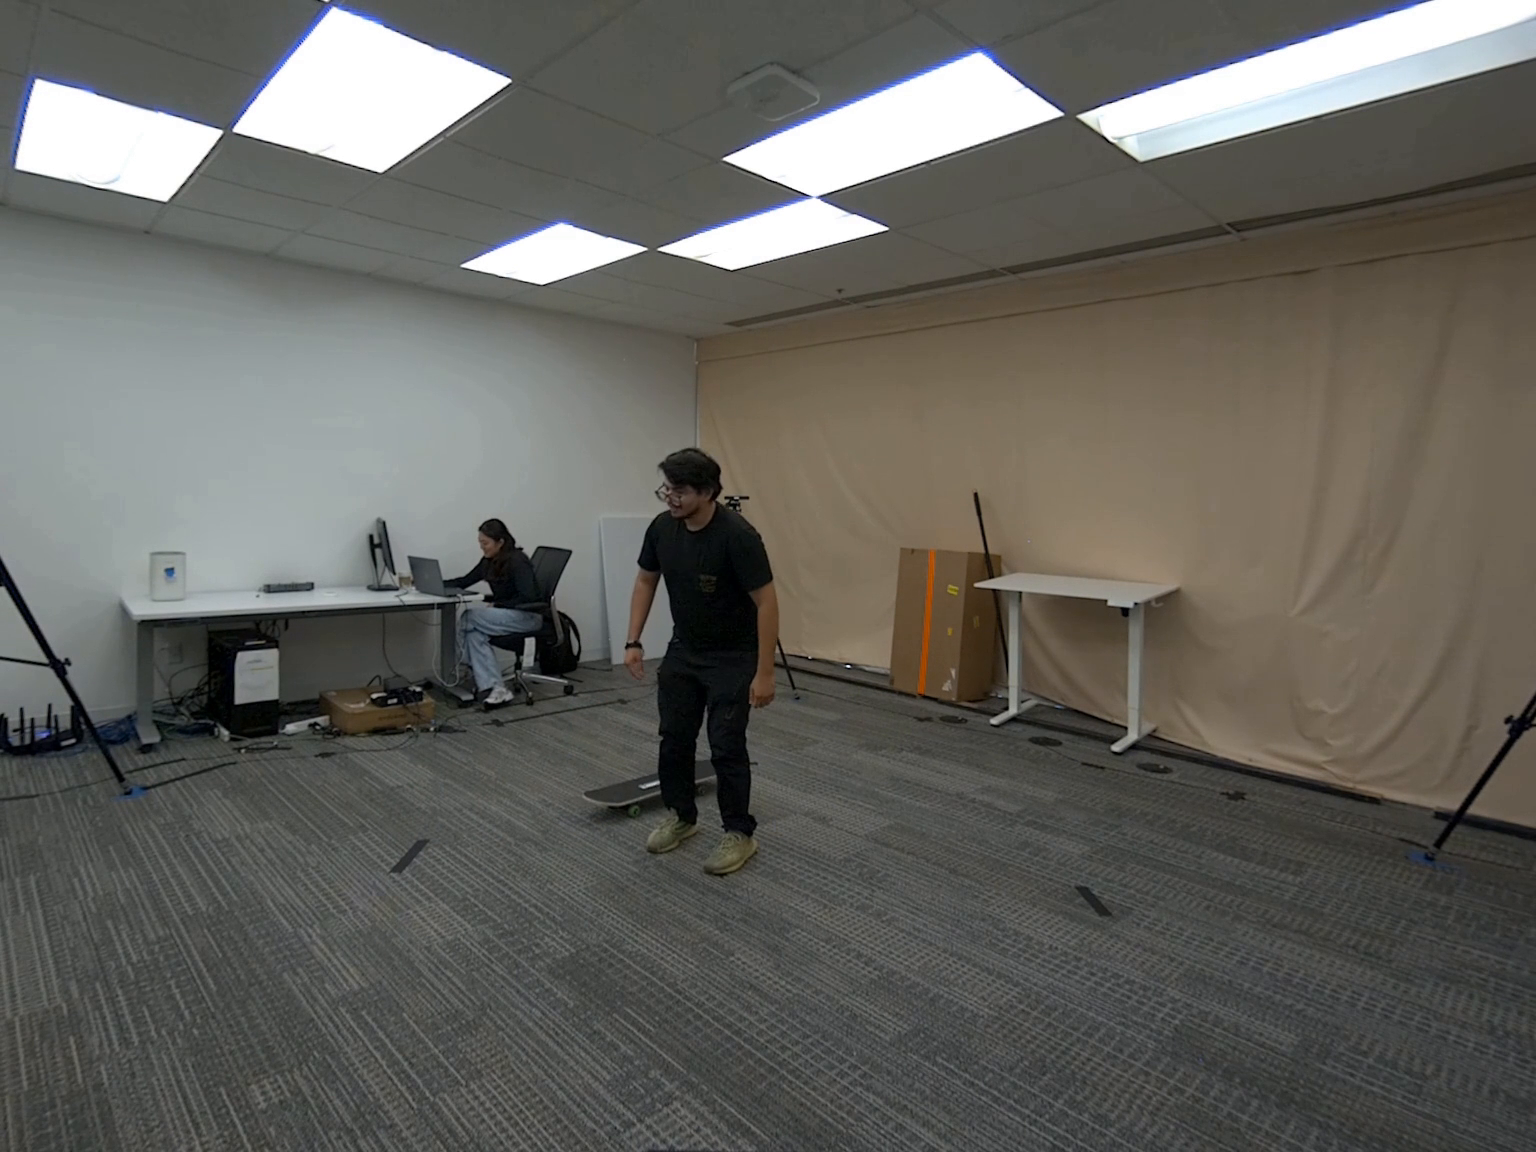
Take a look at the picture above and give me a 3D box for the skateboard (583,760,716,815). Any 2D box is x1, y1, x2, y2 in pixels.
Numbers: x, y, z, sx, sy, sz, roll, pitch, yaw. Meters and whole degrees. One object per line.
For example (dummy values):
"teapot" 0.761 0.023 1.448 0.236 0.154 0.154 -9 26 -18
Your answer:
"skateboard" -0.522 0.978 3.847 0.198 0.110 0.767 8 7 41
